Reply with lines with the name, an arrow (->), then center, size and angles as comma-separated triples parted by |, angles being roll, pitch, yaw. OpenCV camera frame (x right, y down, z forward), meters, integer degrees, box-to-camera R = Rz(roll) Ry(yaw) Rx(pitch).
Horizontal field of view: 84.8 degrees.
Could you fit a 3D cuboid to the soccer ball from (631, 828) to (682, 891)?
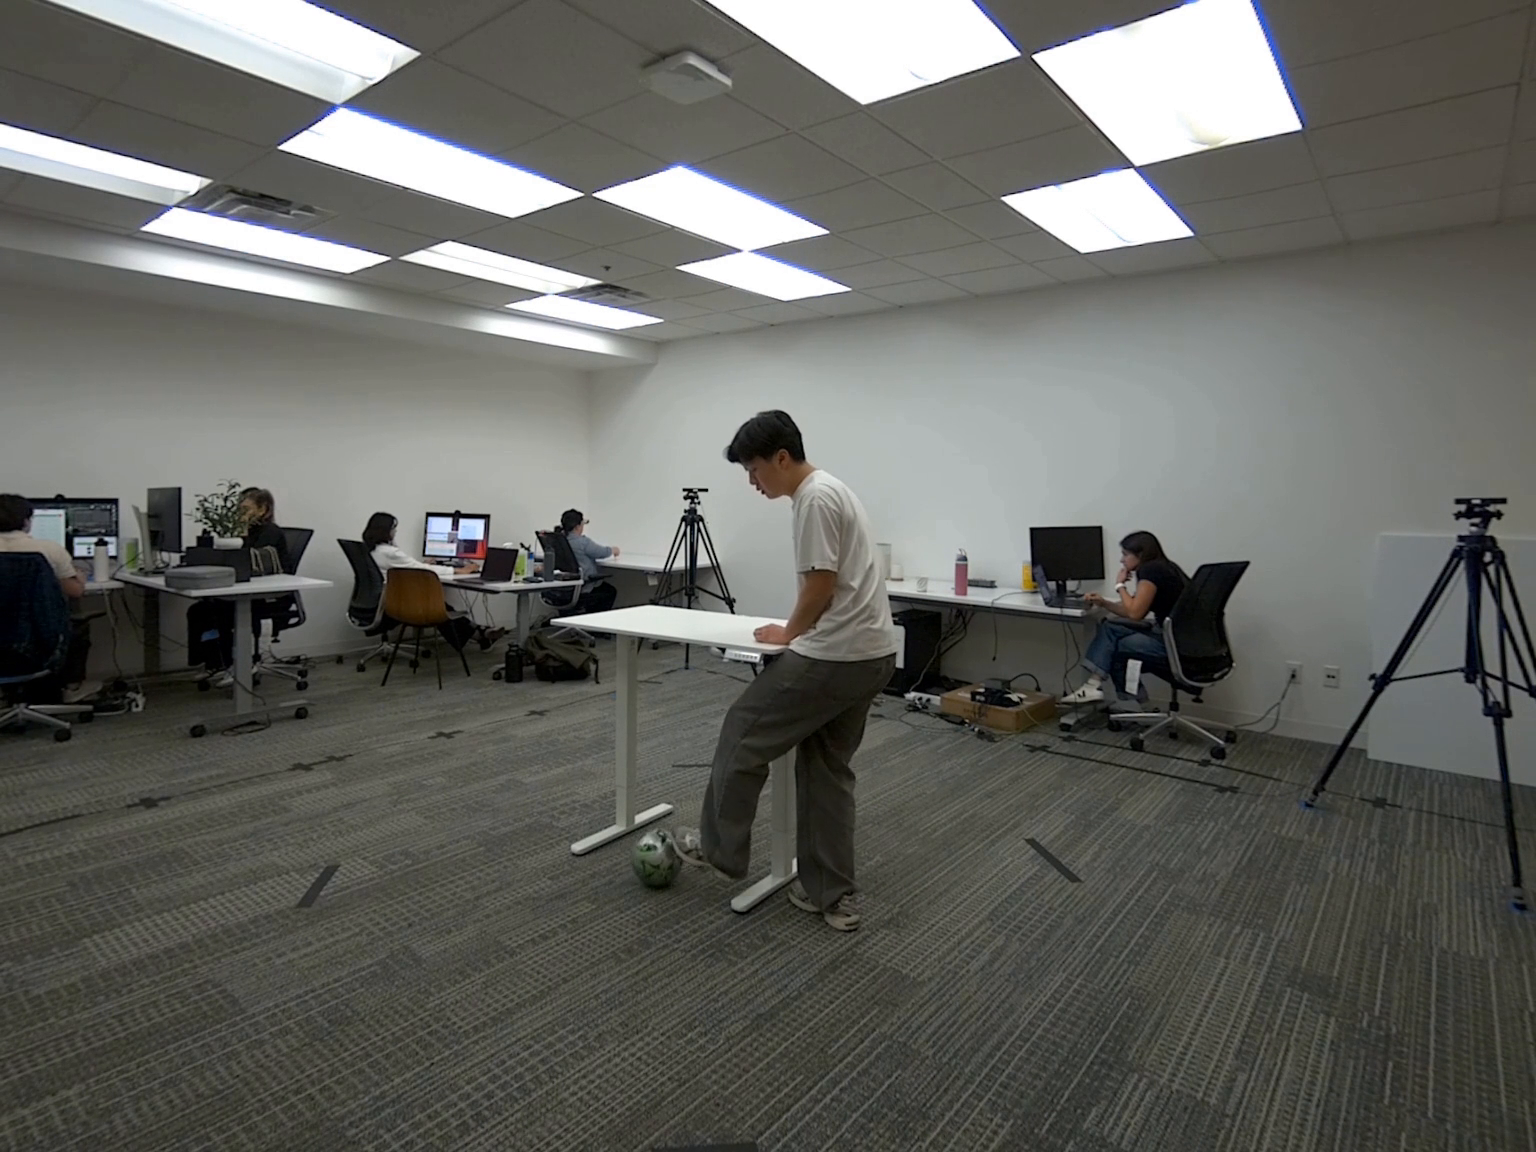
soccer ball -> -0.390, 0.979, 2.991 | 0.187, 0.187, 0.188 | 1, 4, -2
